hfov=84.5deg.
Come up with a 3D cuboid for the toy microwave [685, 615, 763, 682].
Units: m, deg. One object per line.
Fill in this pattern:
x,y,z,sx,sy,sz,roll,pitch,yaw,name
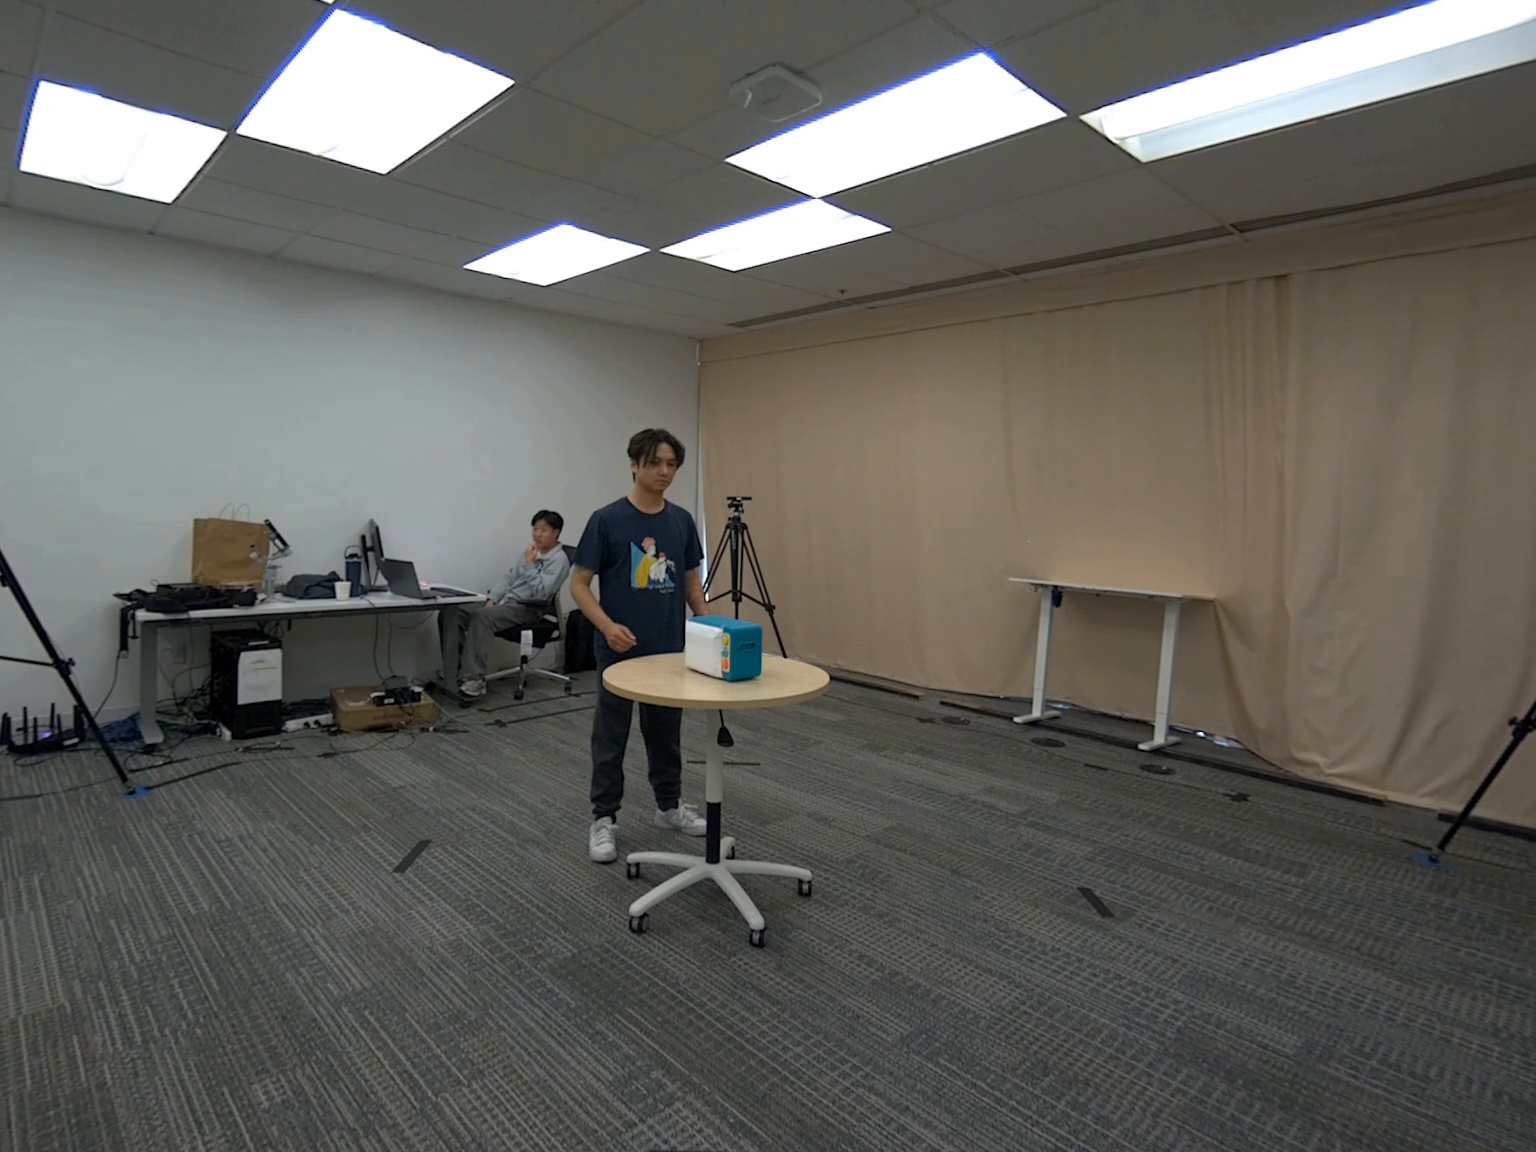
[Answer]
-0.165,0.243,2.840,0.149,0.183,0.293,-2,5,-37,toy microwave
